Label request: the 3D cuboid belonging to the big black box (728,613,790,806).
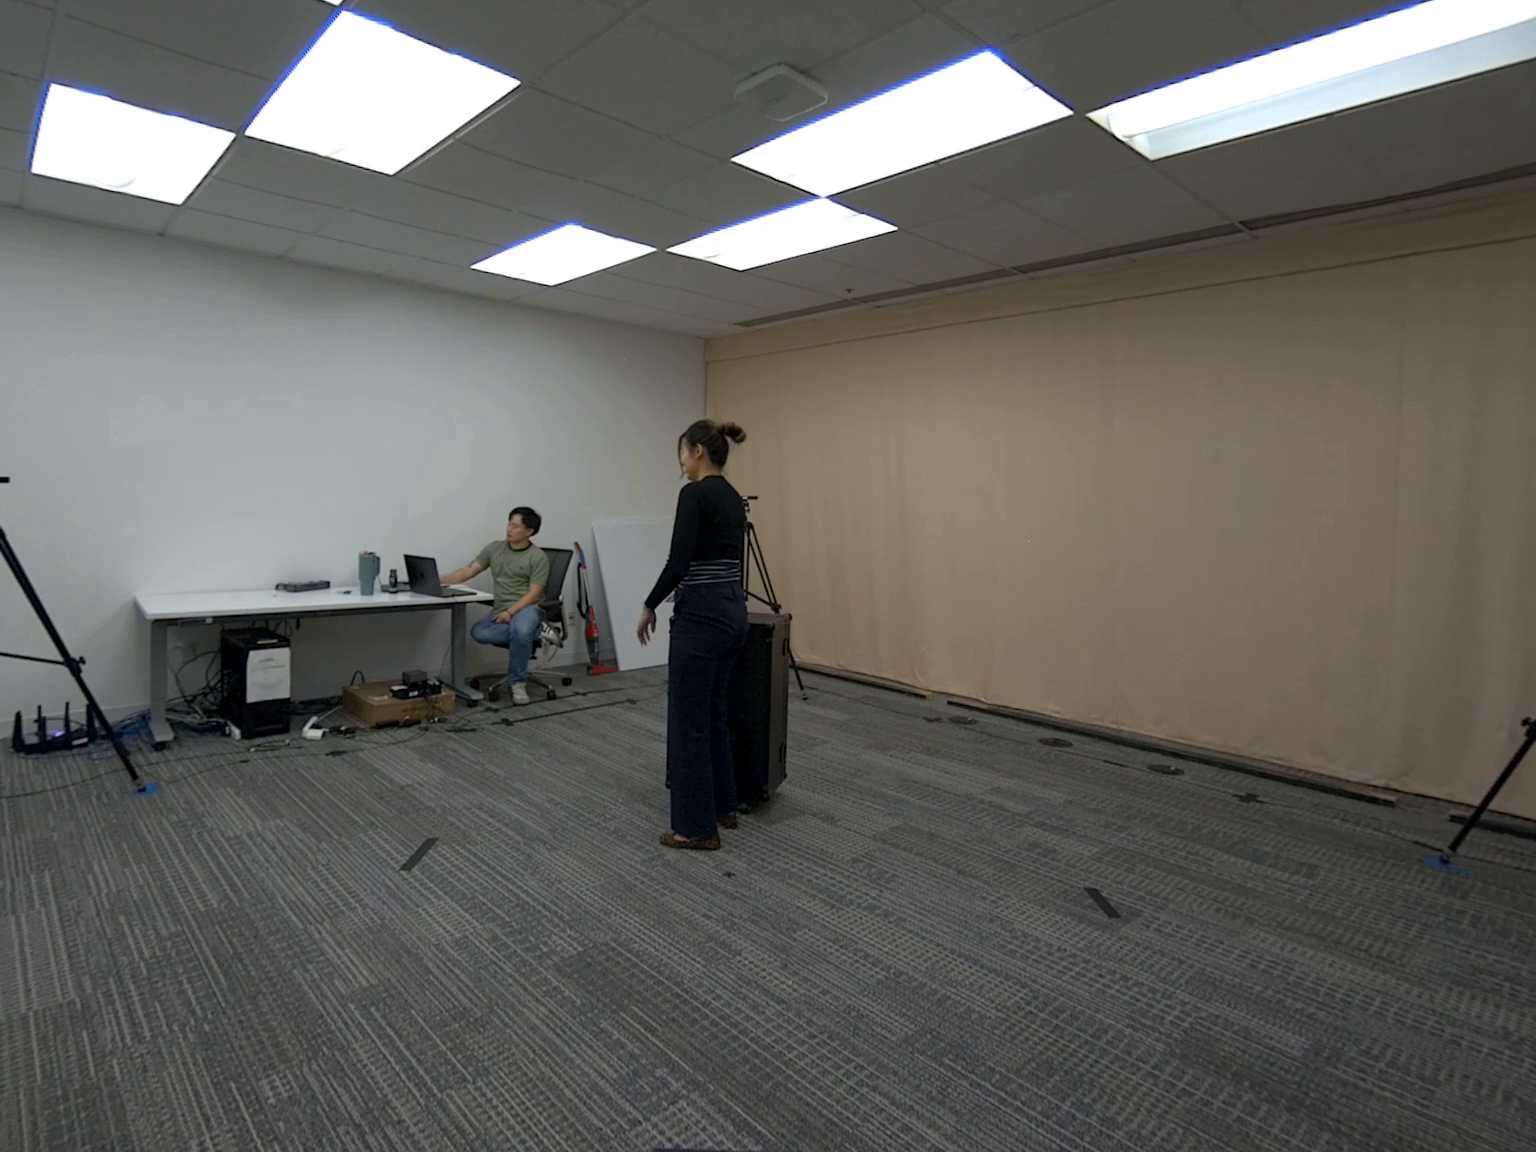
[{"bbox_3d":[-0.180,0.612,3.893,0.528,0.858,0.392,3,5,16],"label":"big black box"}]
